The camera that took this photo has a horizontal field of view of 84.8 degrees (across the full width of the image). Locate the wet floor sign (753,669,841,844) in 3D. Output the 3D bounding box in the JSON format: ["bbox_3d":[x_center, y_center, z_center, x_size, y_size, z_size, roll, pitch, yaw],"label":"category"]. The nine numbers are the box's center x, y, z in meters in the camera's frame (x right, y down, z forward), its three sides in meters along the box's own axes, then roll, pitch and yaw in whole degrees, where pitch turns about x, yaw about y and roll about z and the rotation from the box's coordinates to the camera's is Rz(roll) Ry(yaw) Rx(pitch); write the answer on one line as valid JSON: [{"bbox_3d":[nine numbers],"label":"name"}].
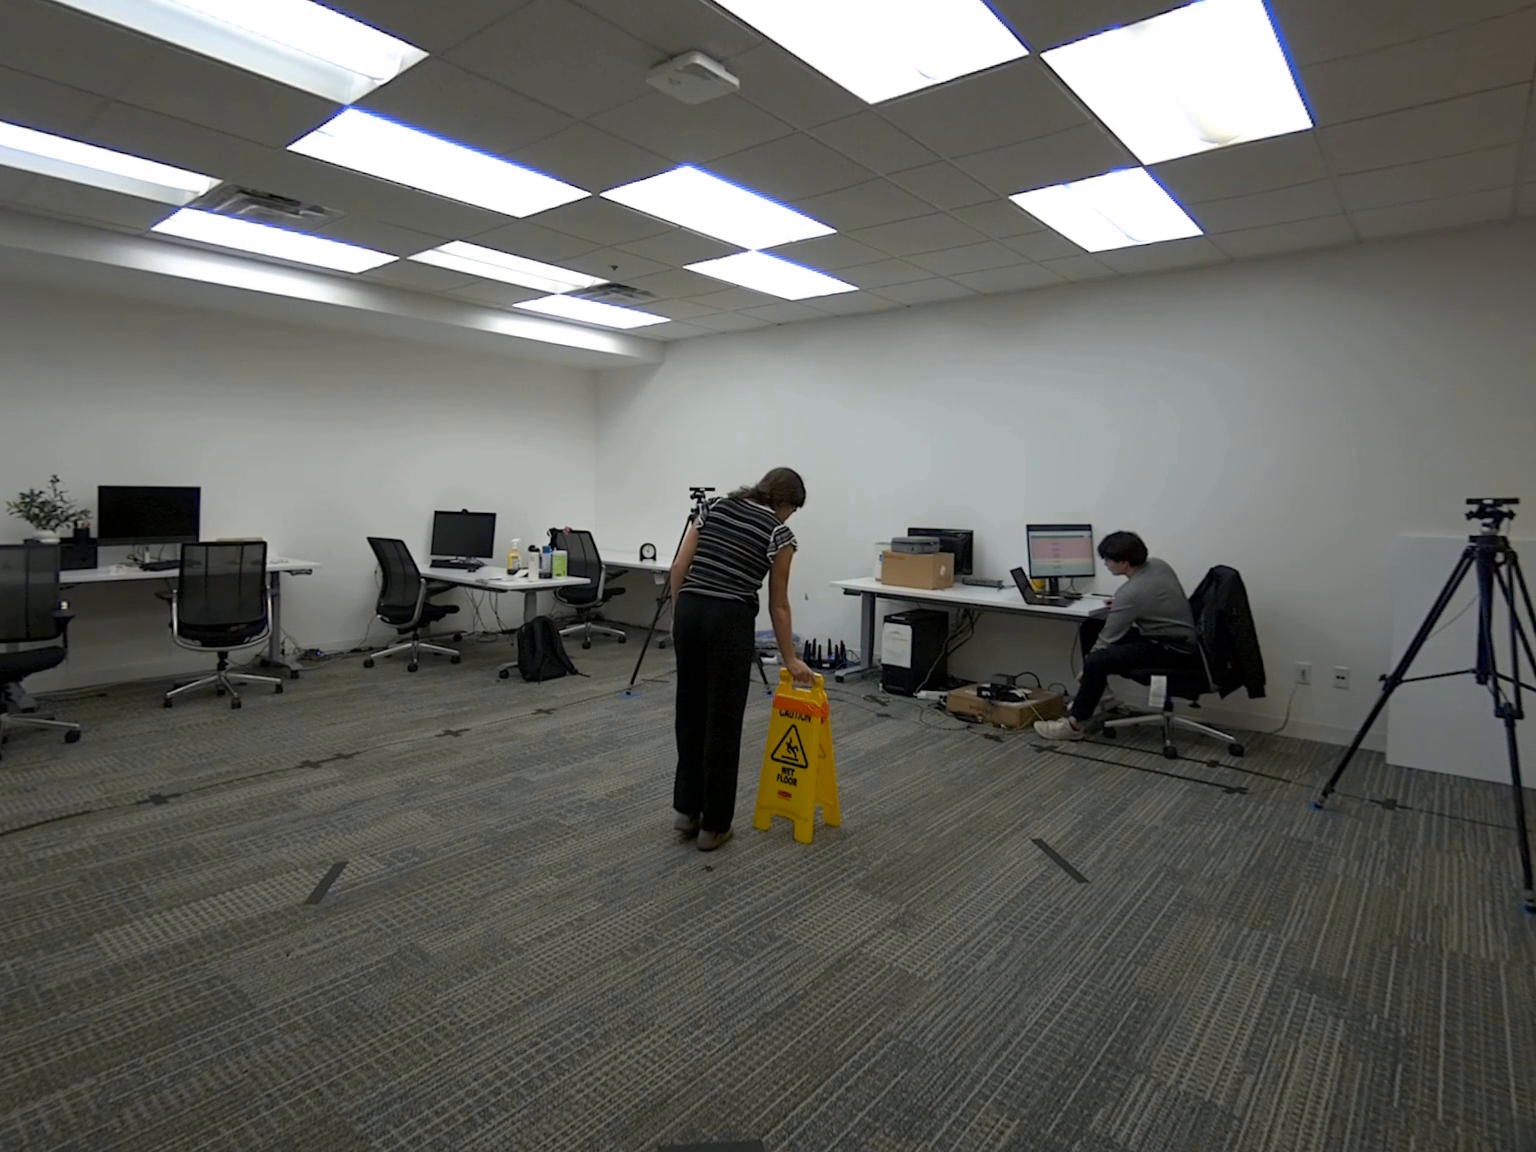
[{"bbox_3d":[0.120,0.715,3.508,0.291,0.645,0.281,4,3,35],"label":"wet floor sign"}]
